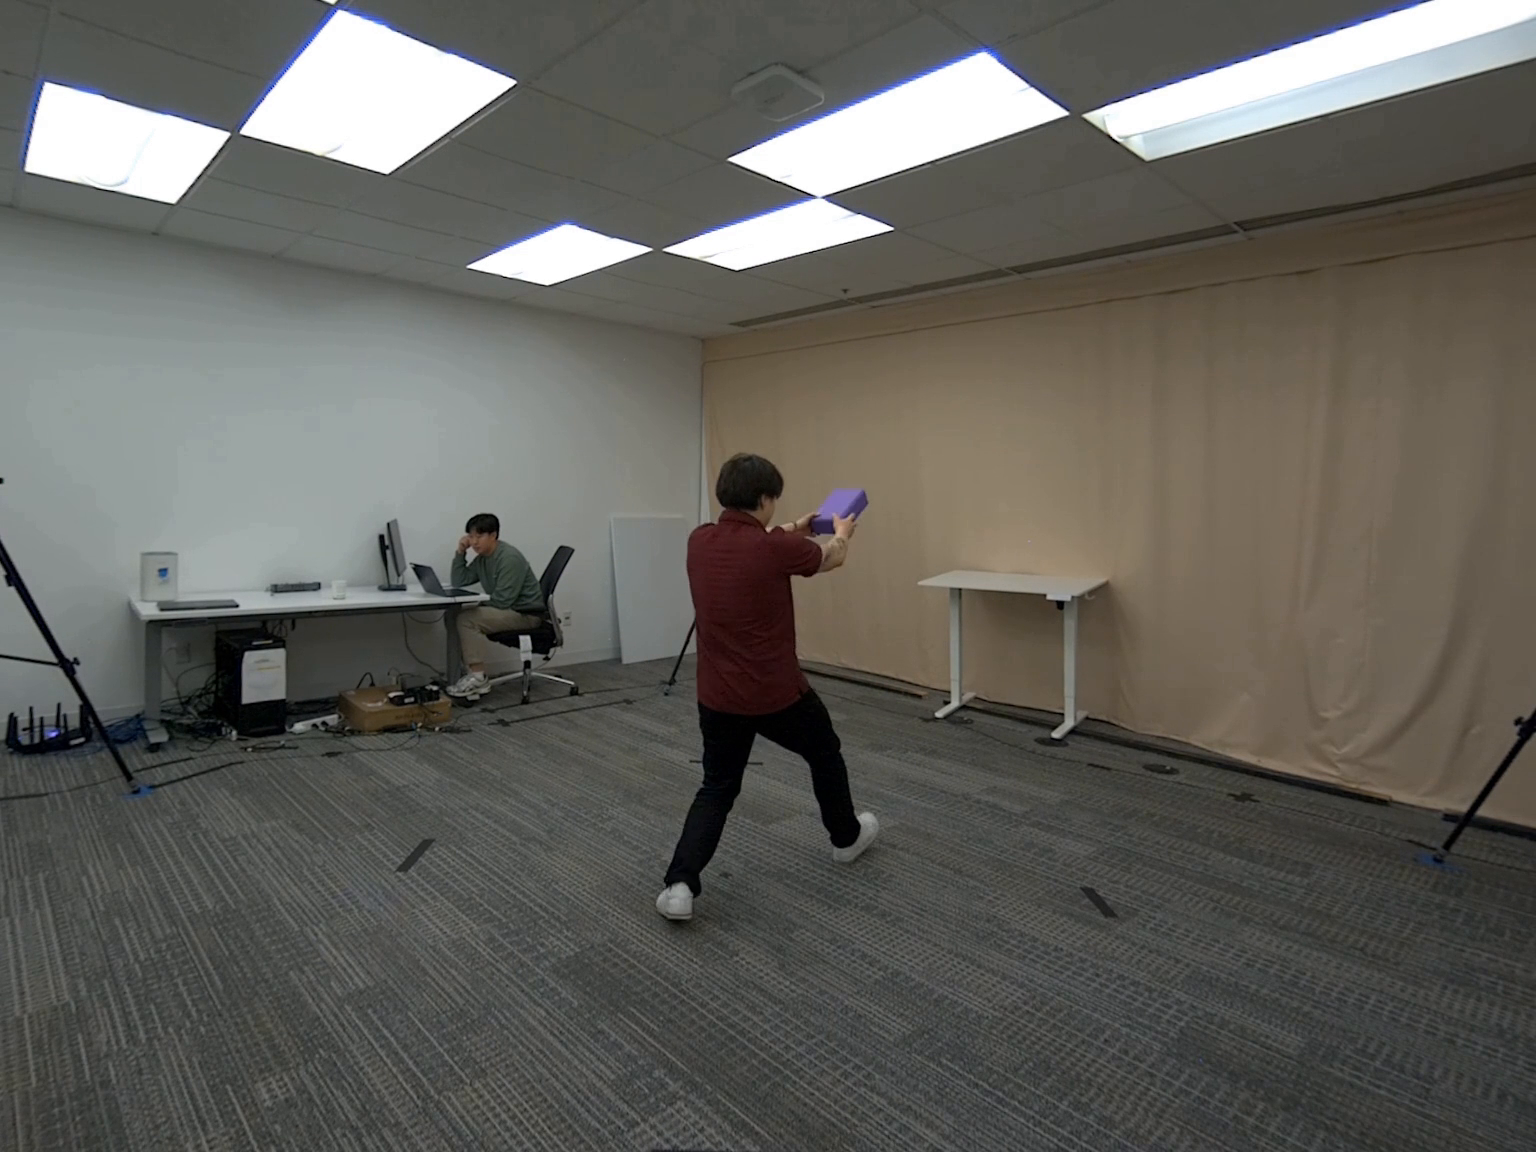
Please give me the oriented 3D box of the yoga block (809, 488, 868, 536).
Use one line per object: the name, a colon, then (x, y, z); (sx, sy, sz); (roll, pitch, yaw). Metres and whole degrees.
yoga block: (0.282, -0.238, 3.391); (0.153, 0.074, 0.229); (5, 40, 38)
